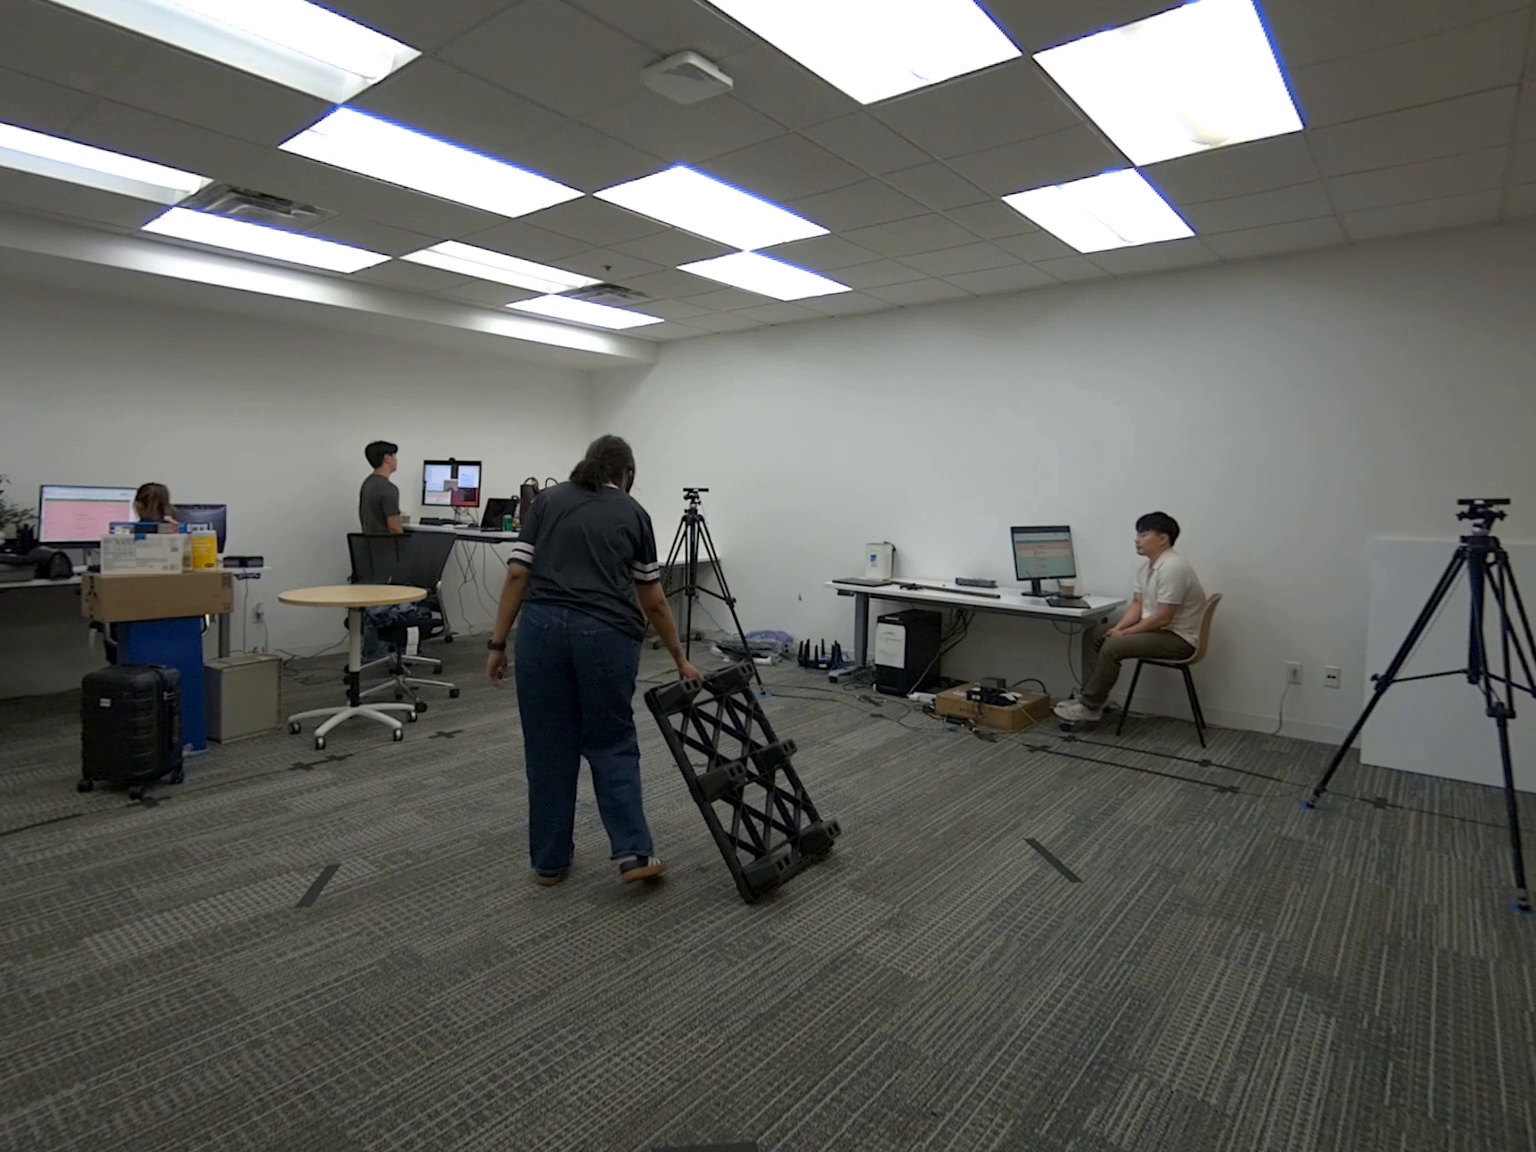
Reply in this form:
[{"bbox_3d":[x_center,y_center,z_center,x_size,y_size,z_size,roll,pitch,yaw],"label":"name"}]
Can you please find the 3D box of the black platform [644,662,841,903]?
[{"bbox_3d":[-0.070,0.710,3.178,0.144,0.824,0.588,-40,-19,29],"label":"black platform"}]
